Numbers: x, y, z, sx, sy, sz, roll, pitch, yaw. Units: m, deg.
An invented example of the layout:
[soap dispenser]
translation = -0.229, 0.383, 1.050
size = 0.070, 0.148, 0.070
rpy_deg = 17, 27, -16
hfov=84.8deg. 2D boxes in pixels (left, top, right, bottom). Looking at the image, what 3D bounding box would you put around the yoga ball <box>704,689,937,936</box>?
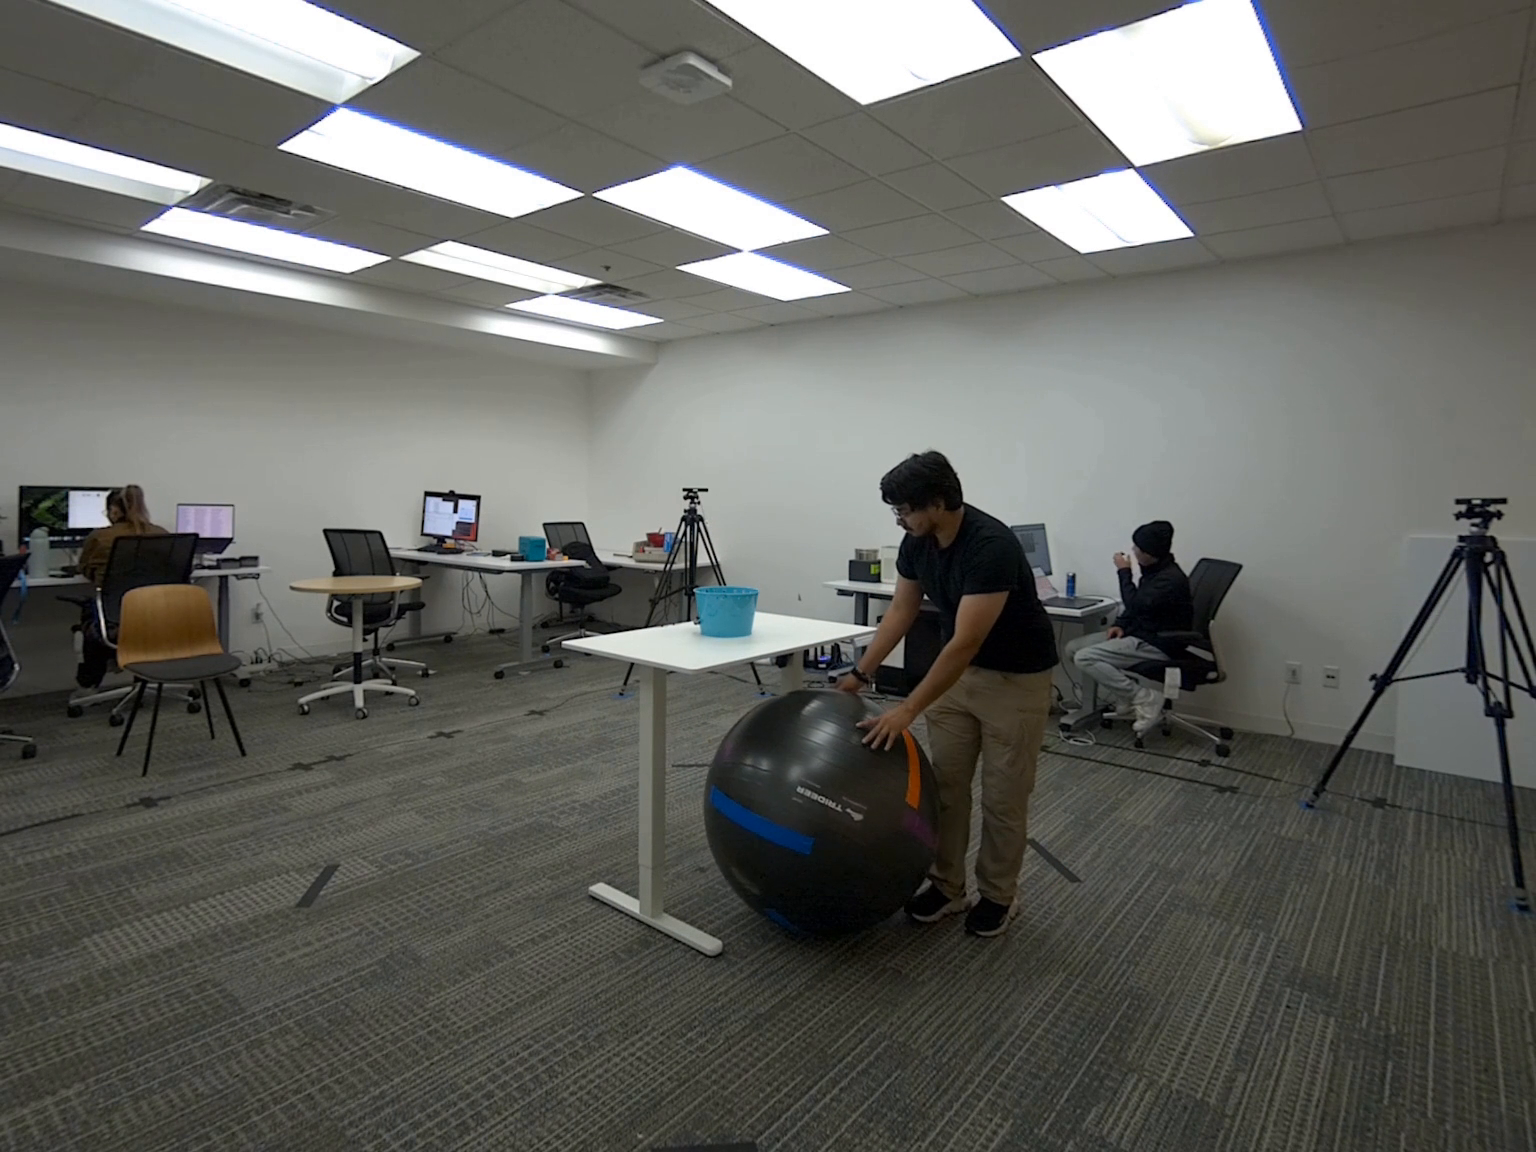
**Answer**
[yoga ball]
translation = 0.162, 0.757, 2.736
size = 0.757, 0.755, 0.762
rpy_deg = 1, 4, -2
